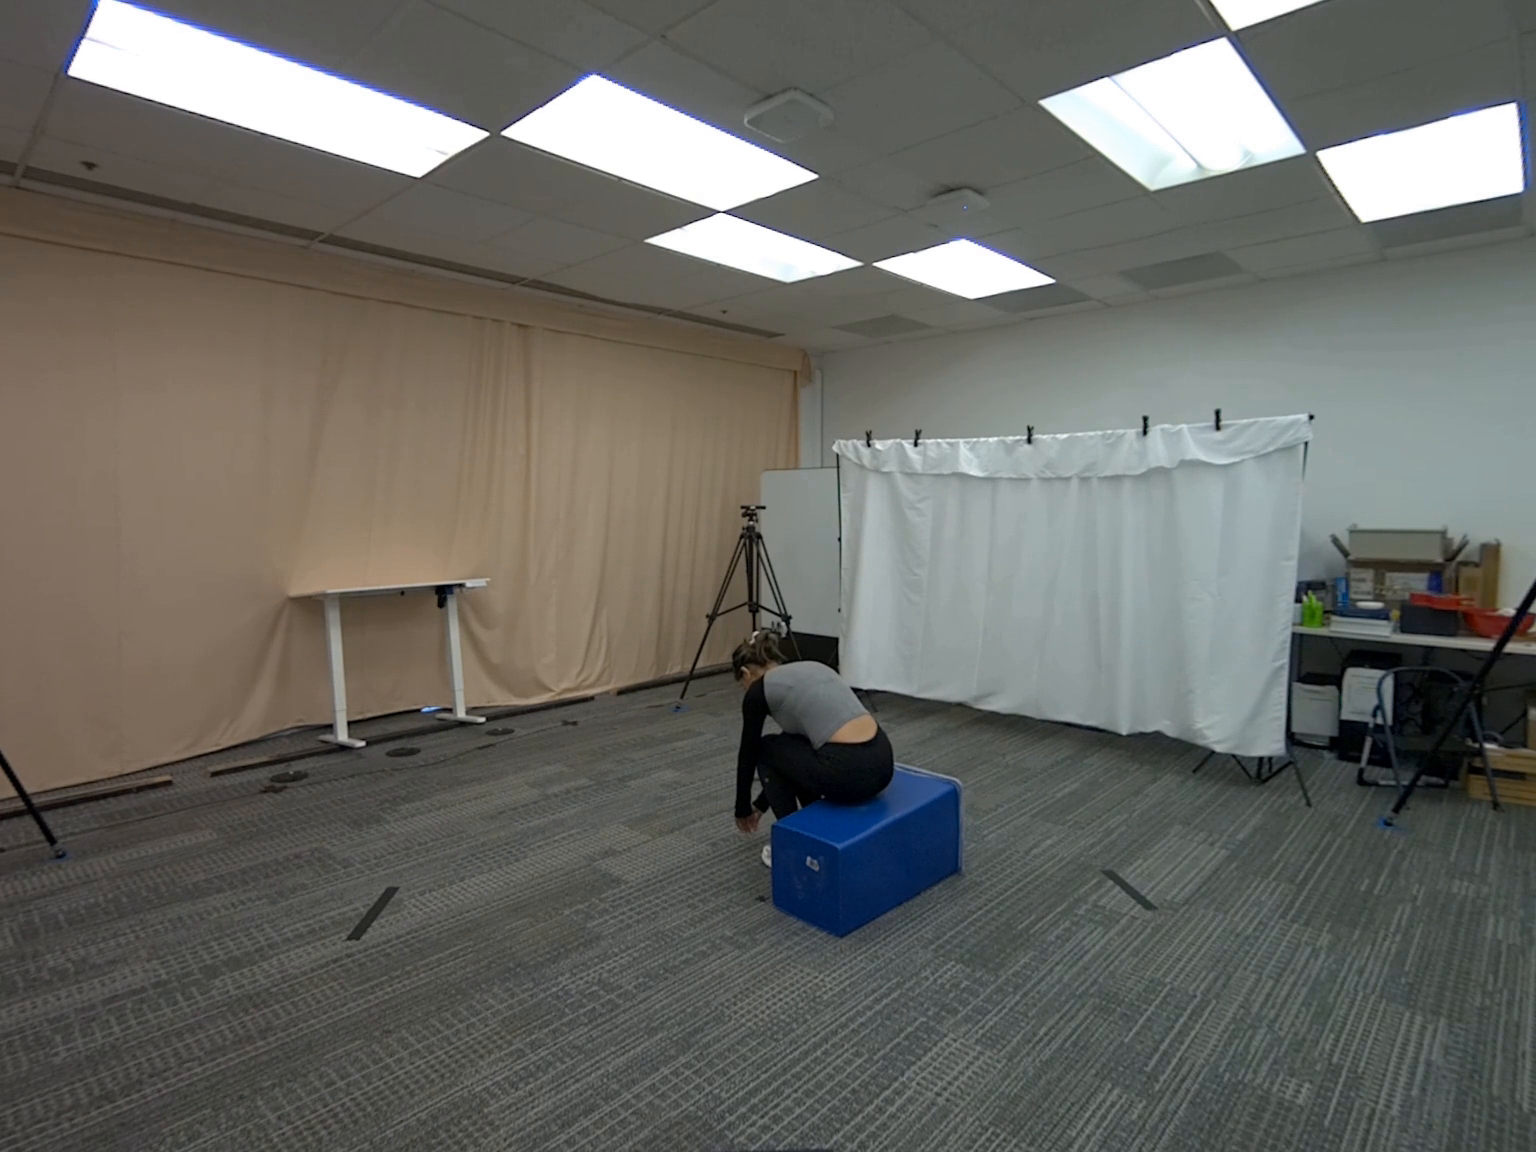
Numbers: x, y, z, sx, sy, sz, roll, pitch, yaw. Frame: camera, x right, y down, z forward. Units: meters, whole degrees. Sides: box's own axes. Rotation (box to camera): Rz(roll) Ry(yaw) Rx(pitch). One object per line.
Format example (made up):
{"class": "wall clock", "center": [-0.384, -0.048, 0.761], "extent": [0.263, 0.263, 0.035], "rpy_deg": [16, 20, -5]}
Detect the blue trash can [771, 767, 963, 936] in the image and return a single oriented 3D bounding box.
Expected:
{"class": "blue trash can", "center": [0.373, 0.962, 3.039], "extent": [0.391, 0.373, 0.692], "rpy_deg": [4, 8, 43]}
